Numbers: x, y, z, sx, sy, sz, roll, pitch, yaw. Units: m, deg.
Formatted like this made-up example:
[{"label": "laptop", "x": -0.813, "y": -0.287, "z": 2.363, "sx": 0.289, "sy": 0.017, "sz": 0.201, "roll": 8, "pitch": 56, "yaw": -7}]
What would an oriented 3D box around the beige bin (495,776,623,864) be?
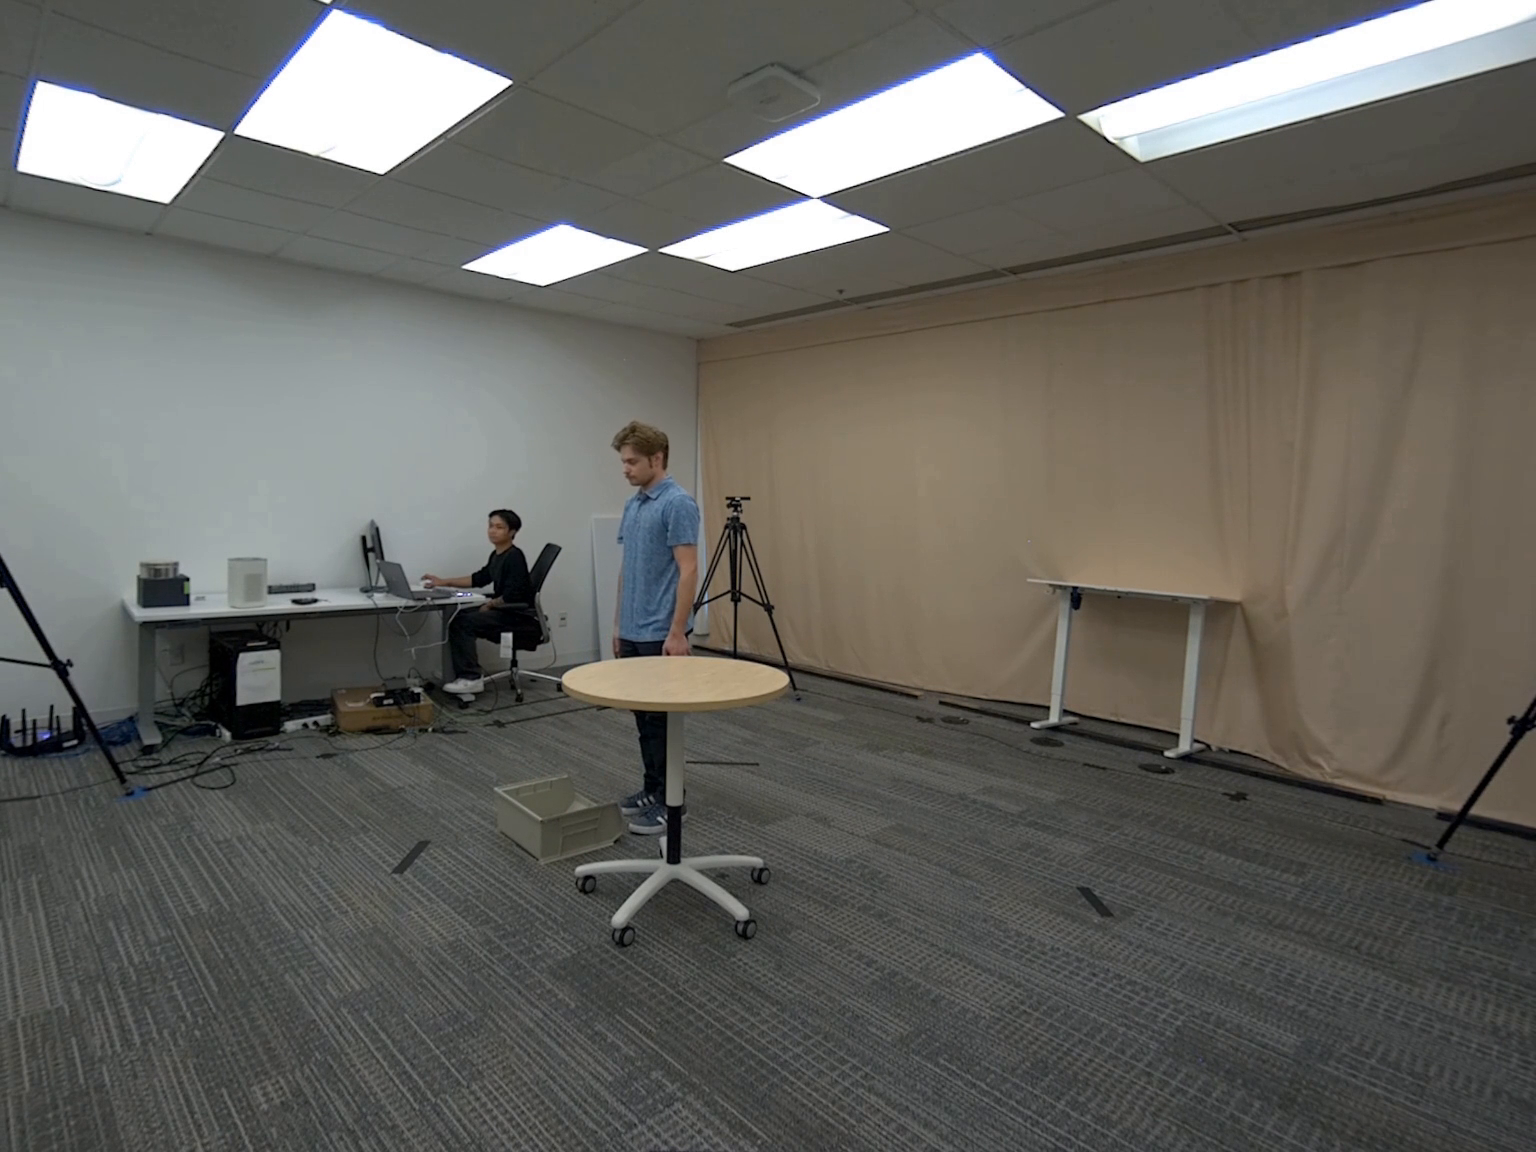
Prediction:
[{"label": "beige bin", "x": -0.859, "y": 0.977, "z": 3.424, "sx": 0.369, "sy": 0.188, "sz": 0.433, "roll": -3, "pitch": 8, "yaw": -40}]
